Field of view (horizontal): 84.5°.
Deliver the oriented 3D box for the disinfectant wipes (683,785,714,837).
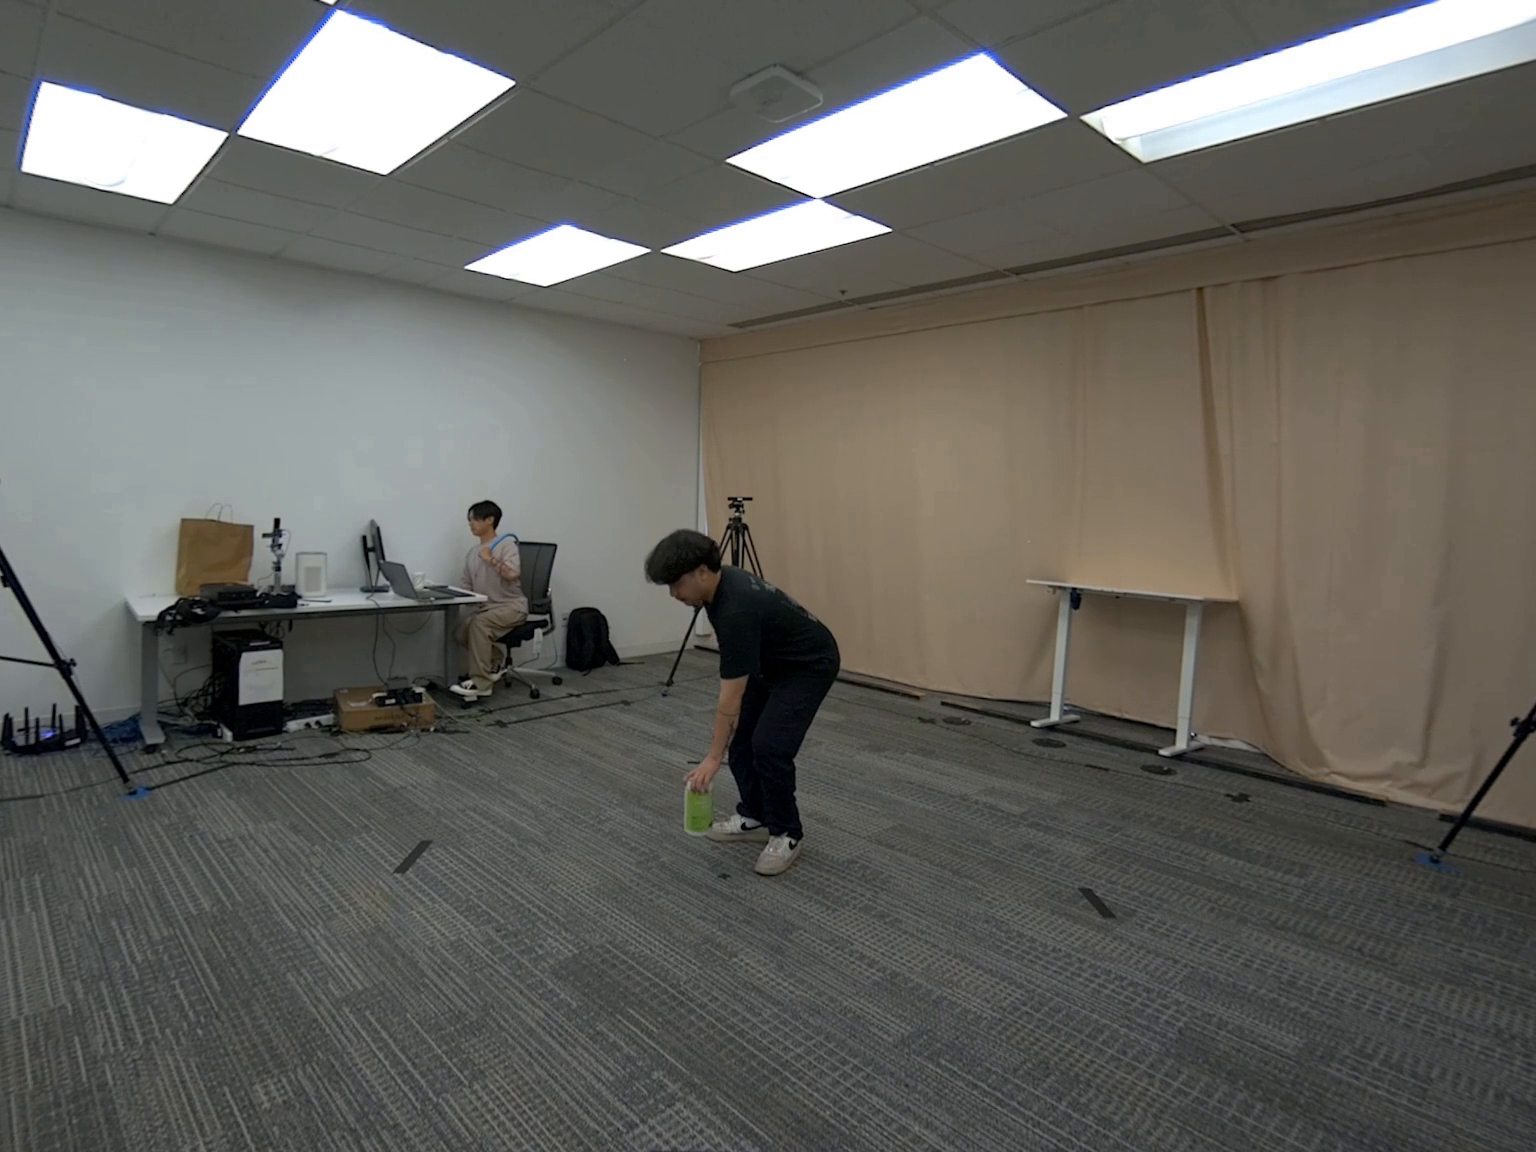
[{"bbox_3d":[-0.264,0.853,3.131,0.117,0.215,0.119,4,14,-2],"label":"disinfectant wipes"}]
